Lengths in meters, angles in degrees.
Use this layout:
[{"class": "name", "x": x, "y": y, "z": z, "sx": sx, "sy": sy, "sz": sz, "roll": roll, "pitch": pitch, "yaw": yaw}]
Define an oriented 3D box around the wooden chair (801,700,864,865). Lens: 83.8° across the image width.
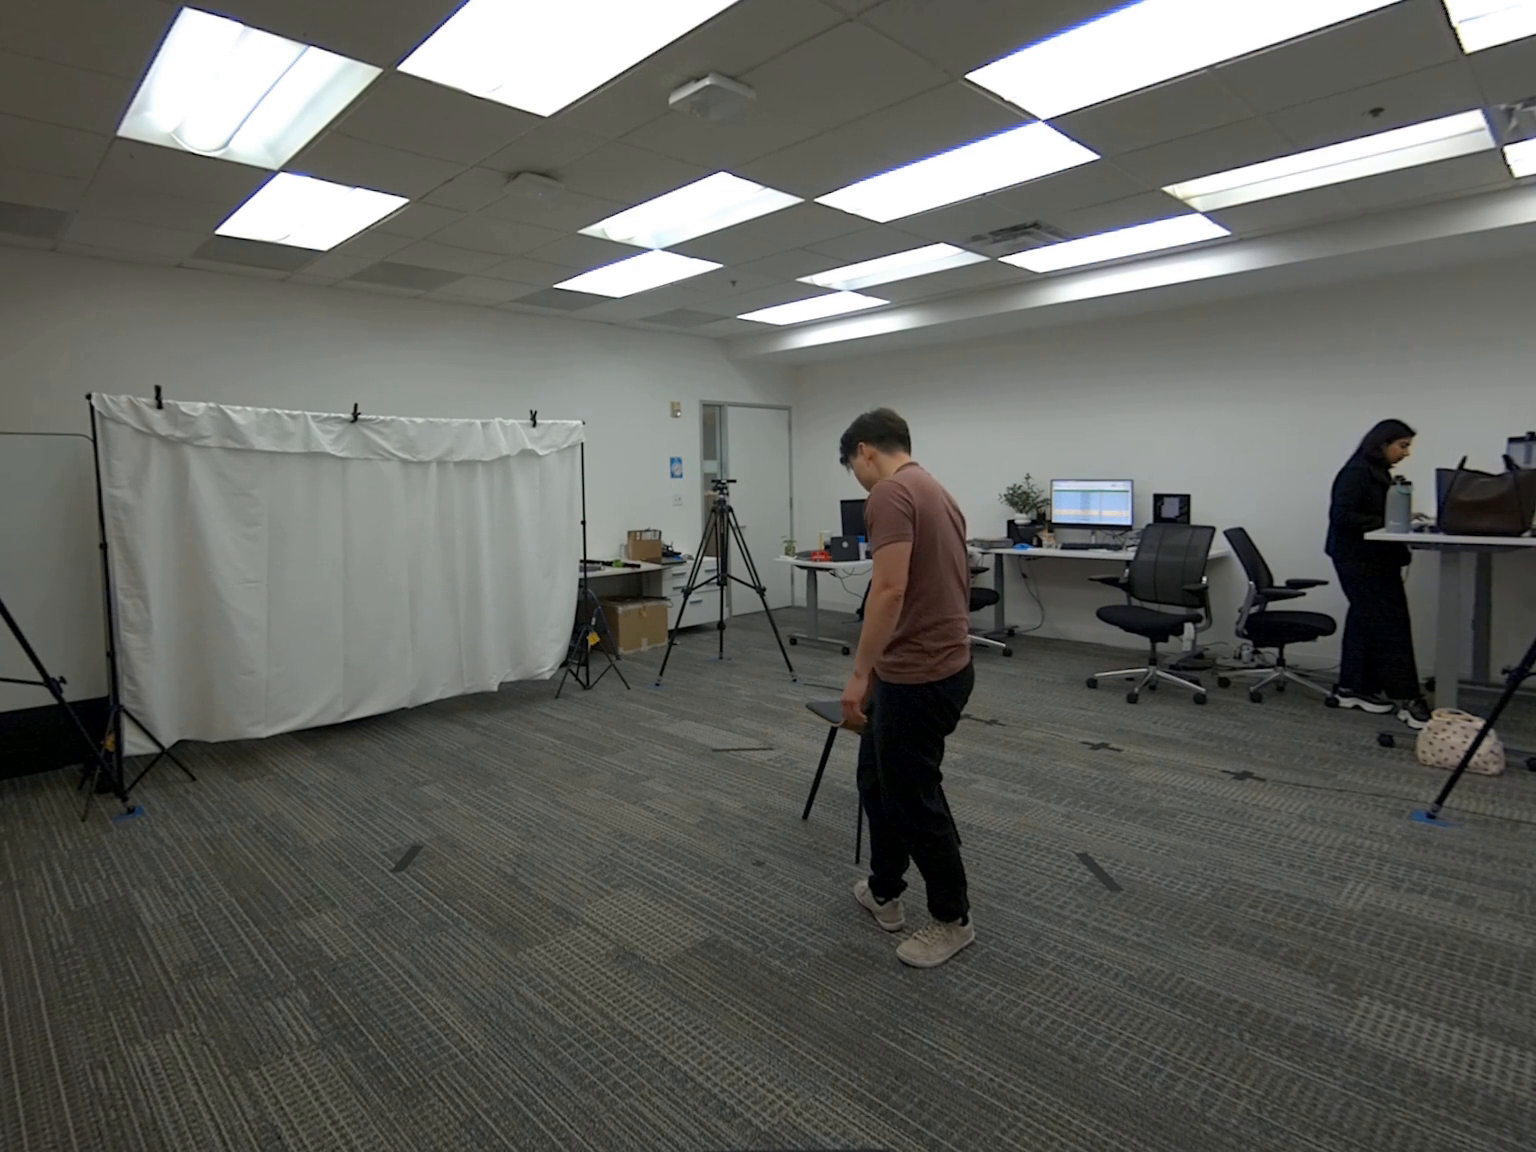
[{"class": "wooden chair", "x": 0.431, "y": 0.586, "z": 3.352, "sx": 0.469, "sy": 0.871, "sz": 0.537, "roll": -3, "pitch": 9, "yaw": -22}]
